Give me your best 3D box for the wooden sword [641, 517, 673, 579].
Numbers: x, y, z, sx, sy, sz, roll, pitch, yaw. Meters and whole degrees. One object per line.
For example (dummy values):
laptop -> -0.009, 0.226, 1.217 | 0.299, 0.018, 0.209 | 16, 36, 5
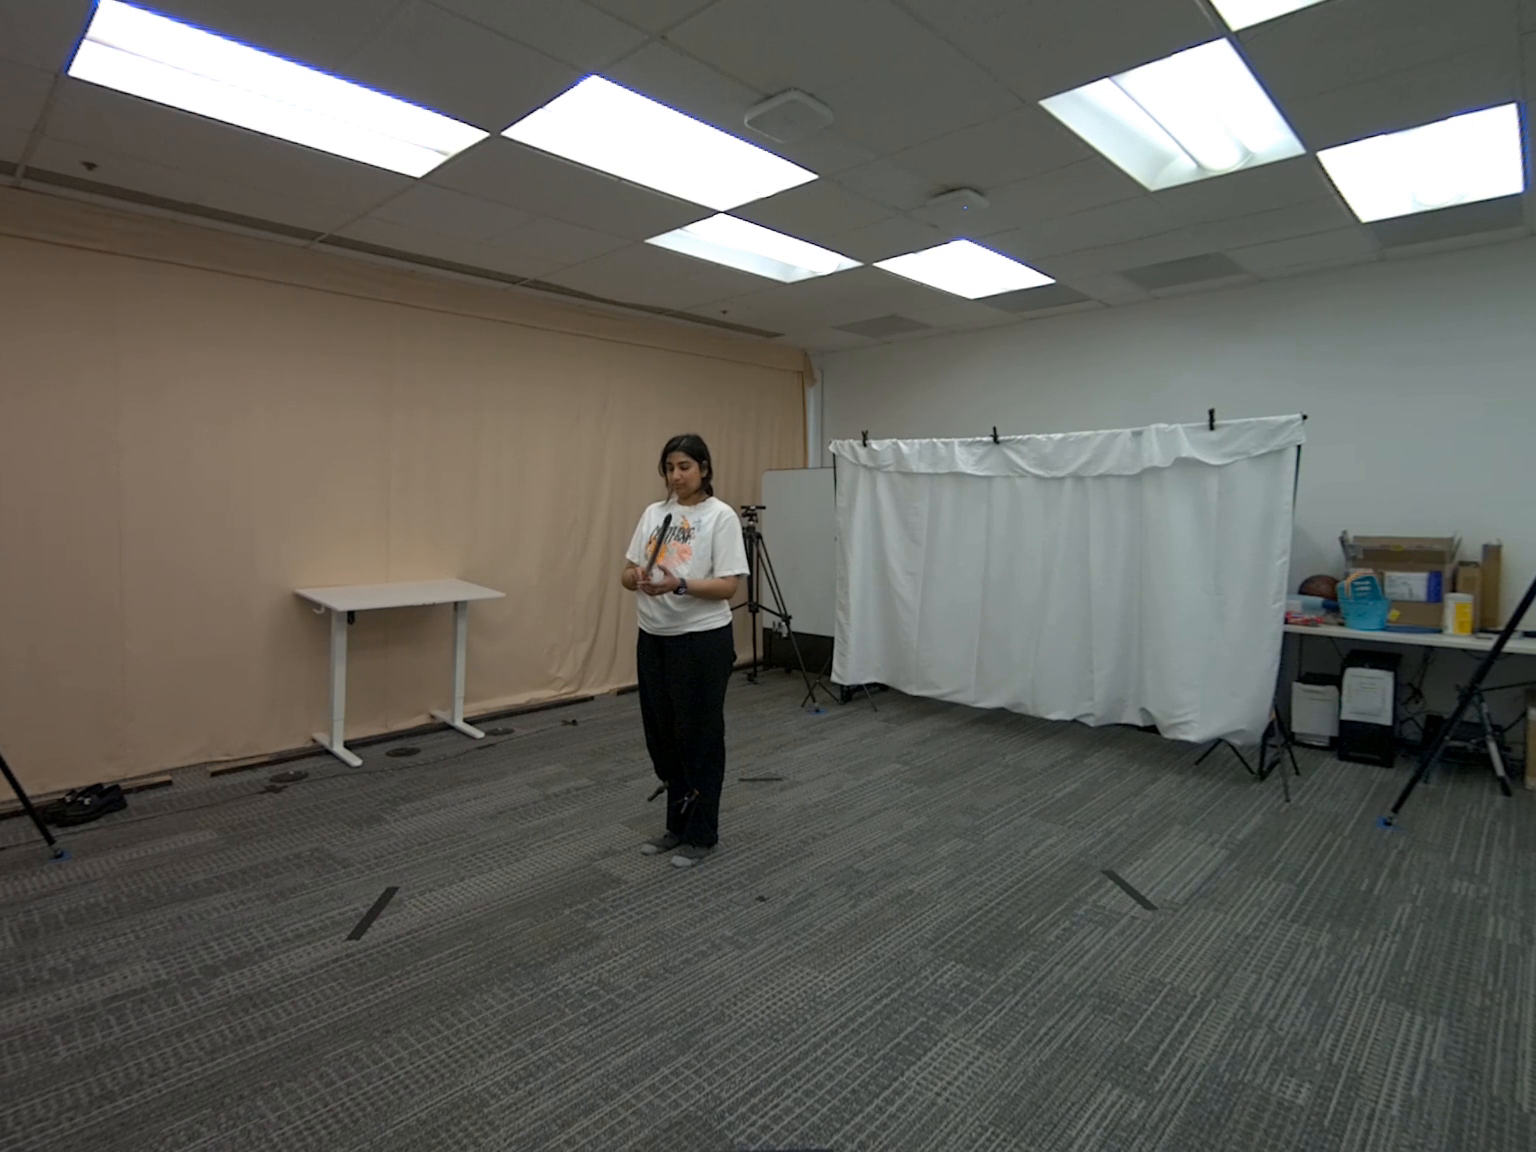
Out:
wooden sword -> -0.414, -0.027, 2.896 | 0.024, 0.051, 1.028 | 37, -15, -3
